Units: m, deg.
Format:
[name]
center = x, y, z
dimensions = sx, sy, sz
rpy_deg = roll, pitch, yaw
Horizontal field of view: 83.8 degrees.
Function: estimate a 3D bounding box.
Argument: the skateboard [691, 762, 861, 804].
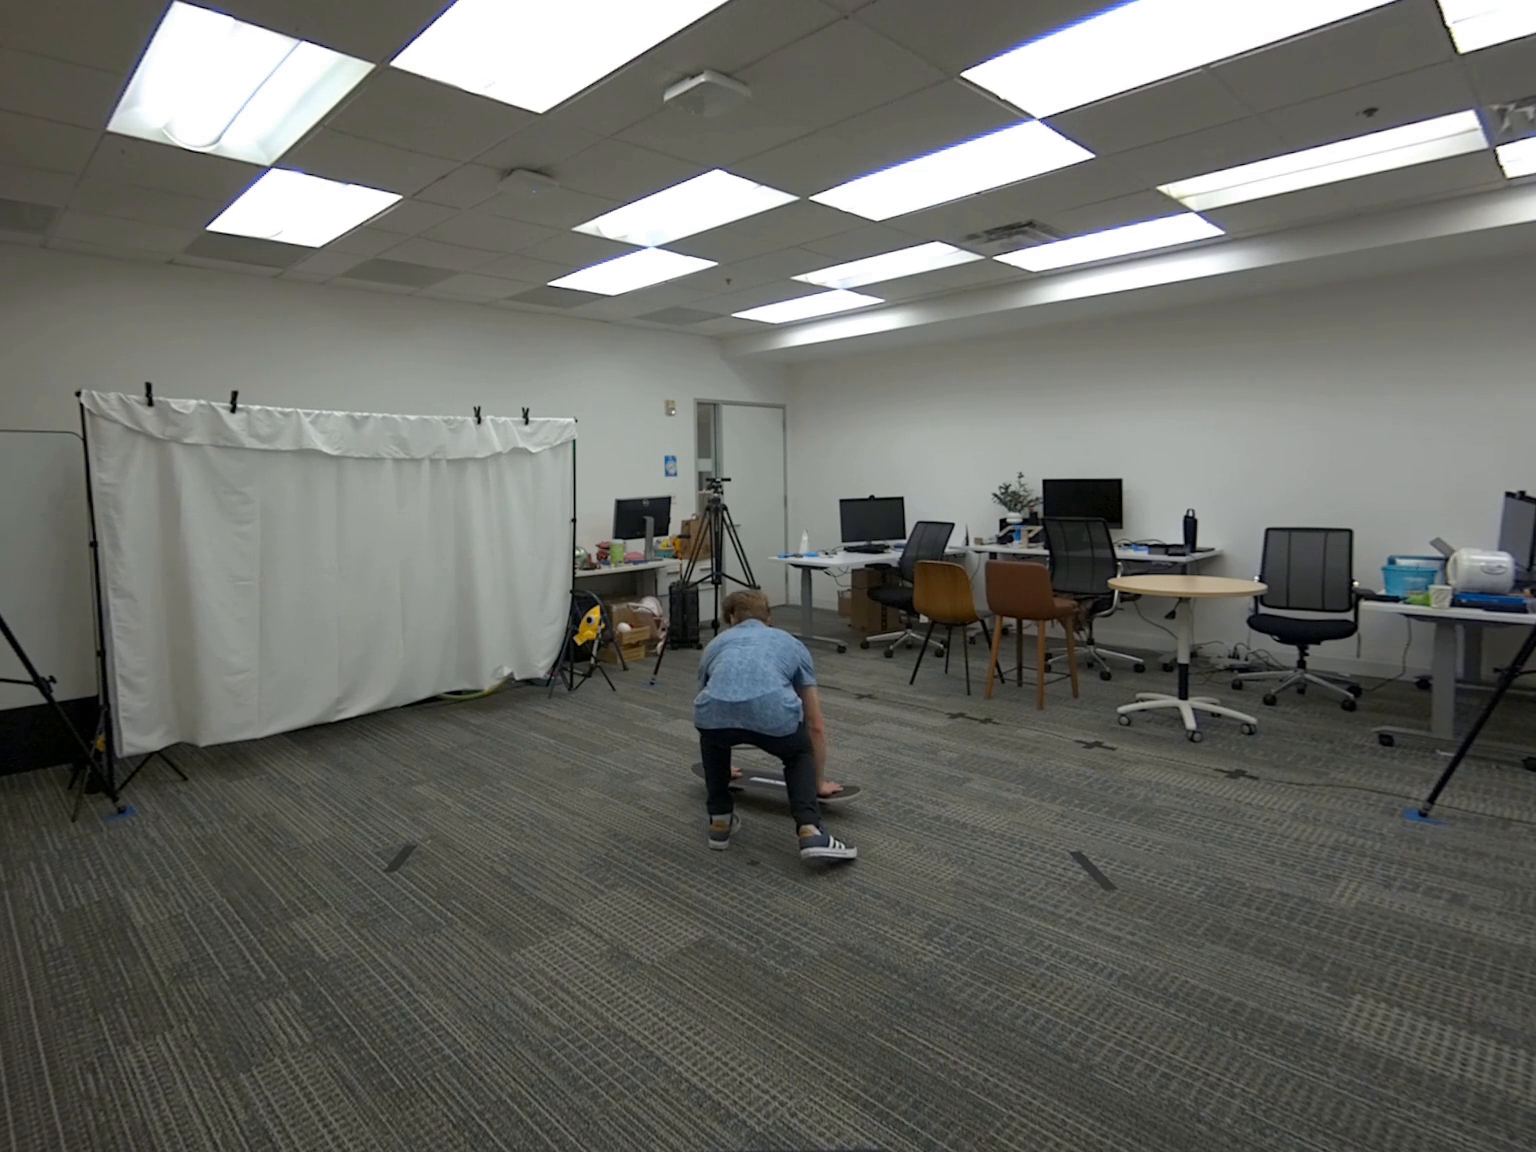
[skateboard]
center = 0.023, 0.919, 3.679
dimensions = 0.805, 0.110, 0.189
rpy_deg = 2, 5, 27
